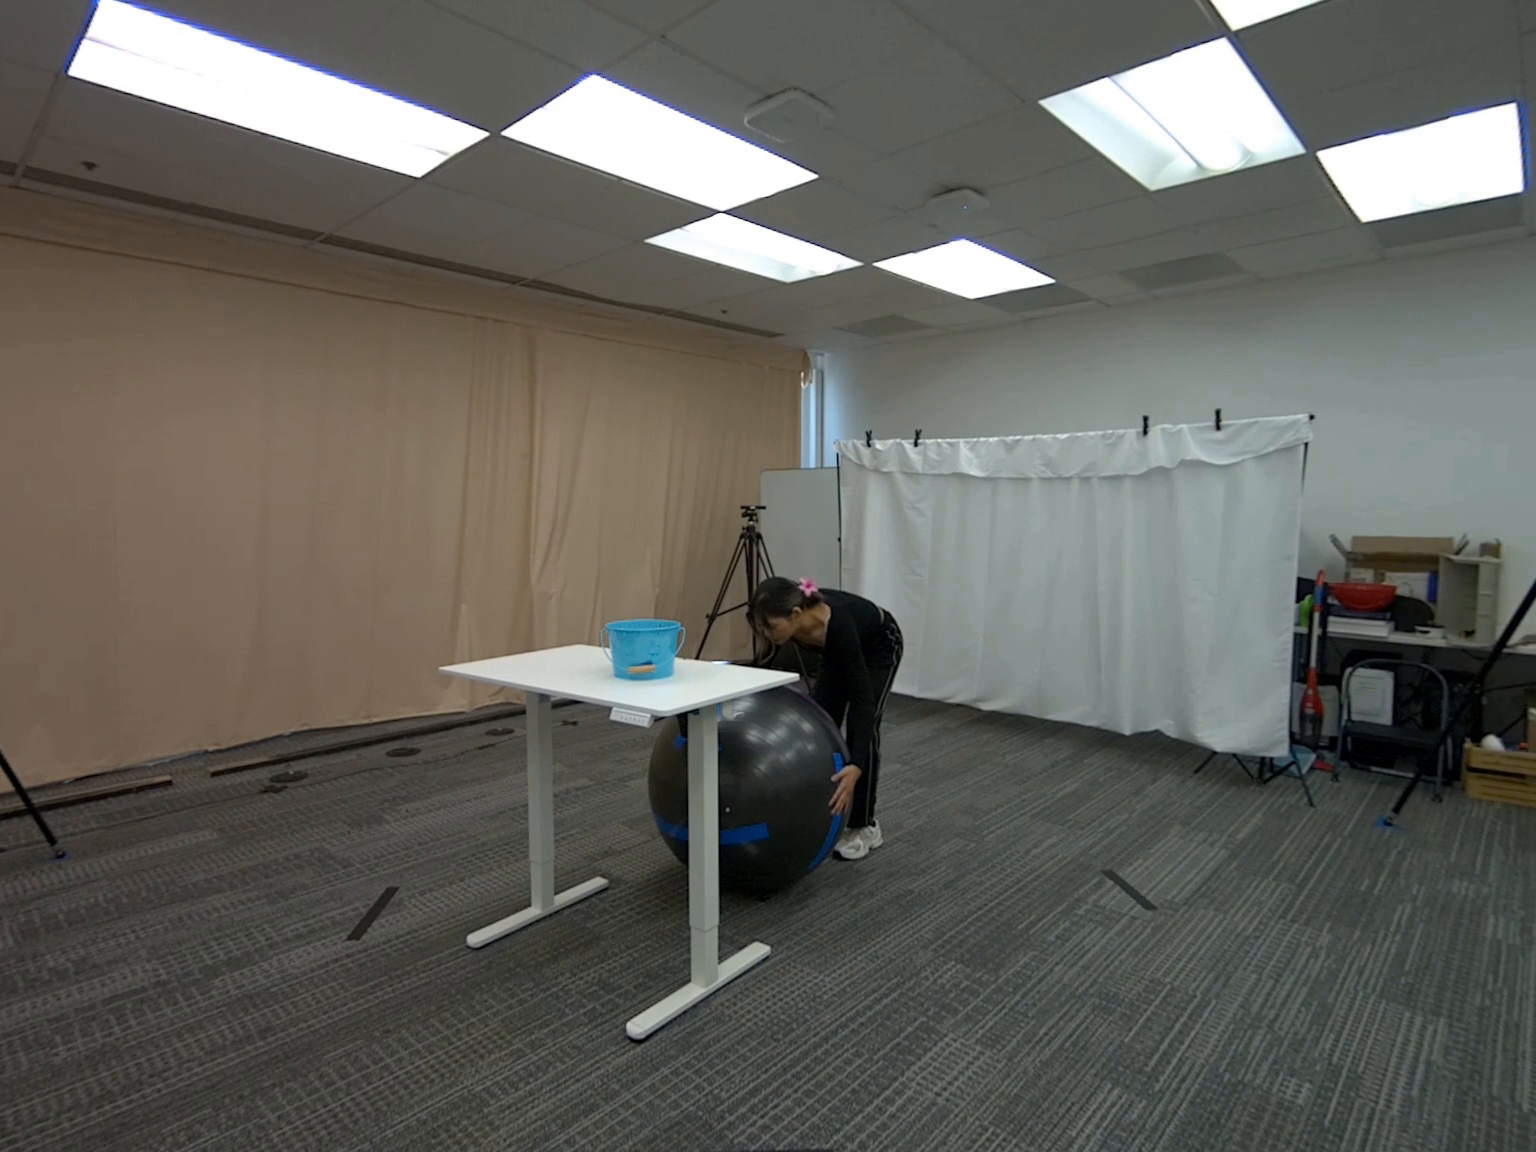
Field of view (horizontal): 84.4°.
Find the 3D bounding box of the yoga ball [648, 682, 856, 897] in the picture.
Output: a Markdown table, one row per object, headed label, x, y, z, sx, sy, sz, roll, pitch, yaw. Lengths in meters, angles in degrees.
| label | x | y | z | sx | sy | sz | roll | pitch | yaw |
| --- | --- | --- | --- | --- | --- | --- | --- | --- | --- |
| yoga ball | -0.068 | 0.763 | 3.109 | 0.757 | 0.756 | 0.761 | 0 | 4 | -2 |
